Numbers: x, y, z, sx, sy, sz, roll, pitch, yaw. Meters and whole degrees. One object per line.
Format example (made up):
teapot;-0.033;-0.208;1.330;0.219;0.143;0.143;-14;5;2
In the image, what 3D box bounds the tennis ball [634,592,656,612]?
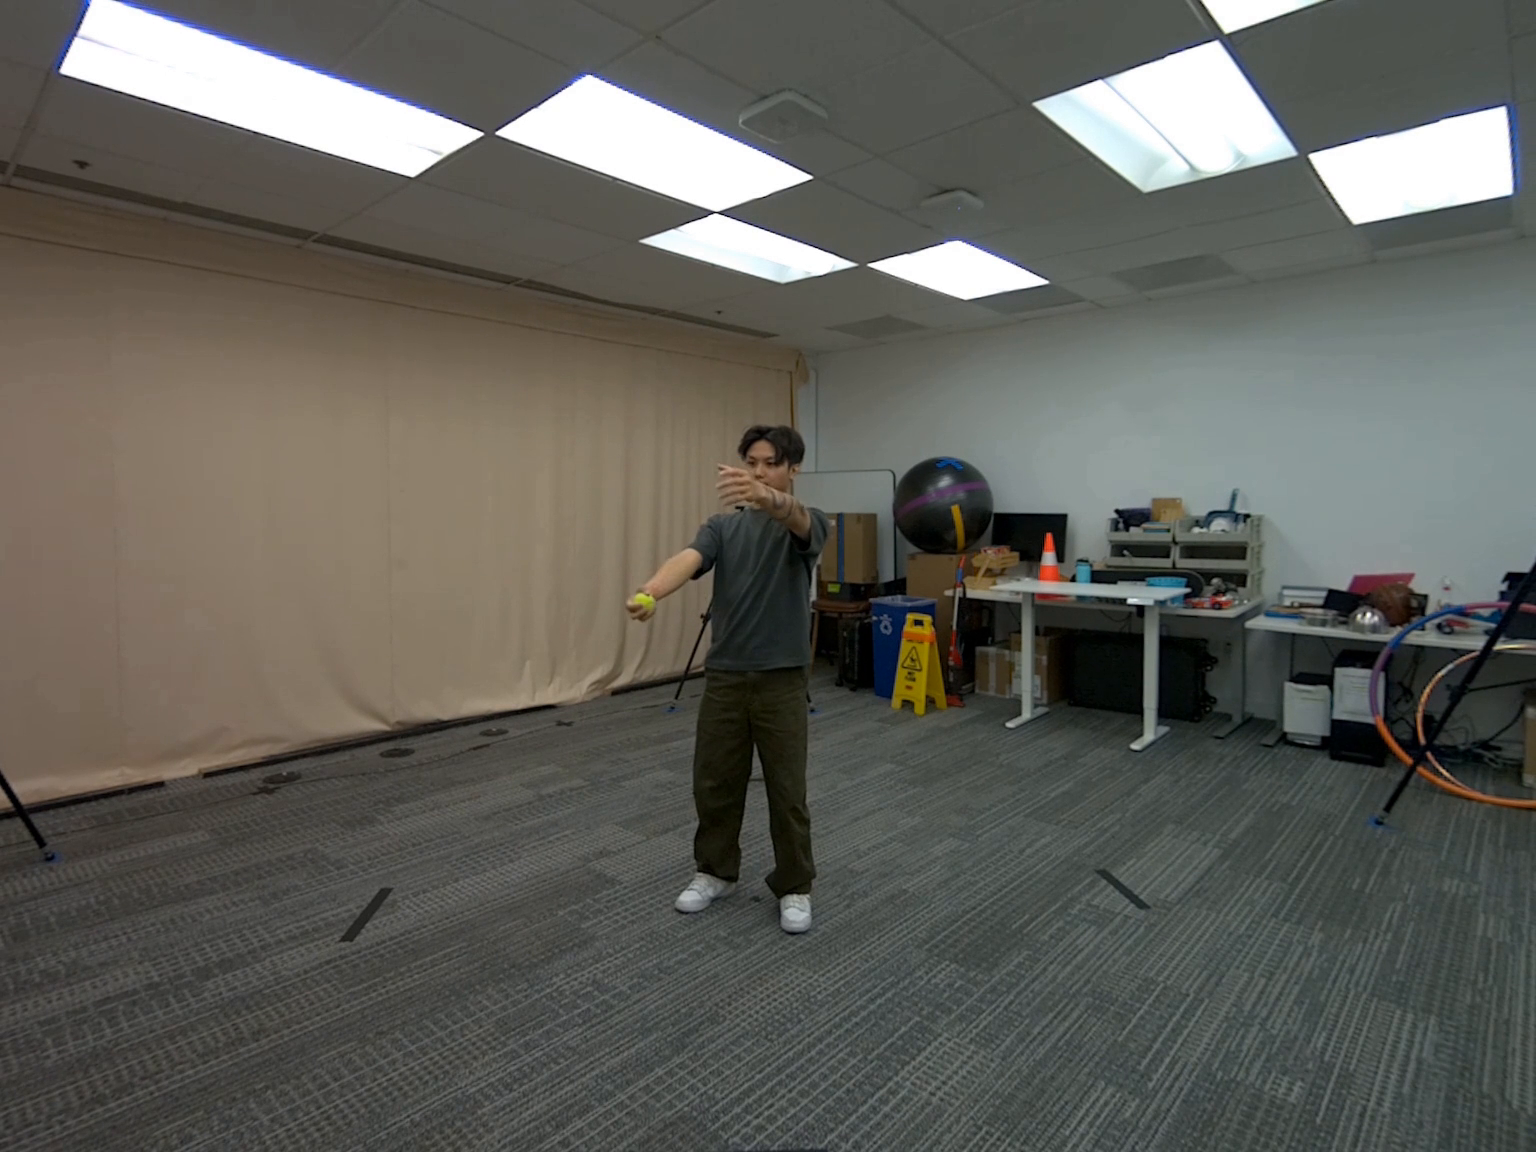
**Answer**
tennis ball;-0.334;0.076;2.498;0.066;0.066;0.067;0;4;-2
